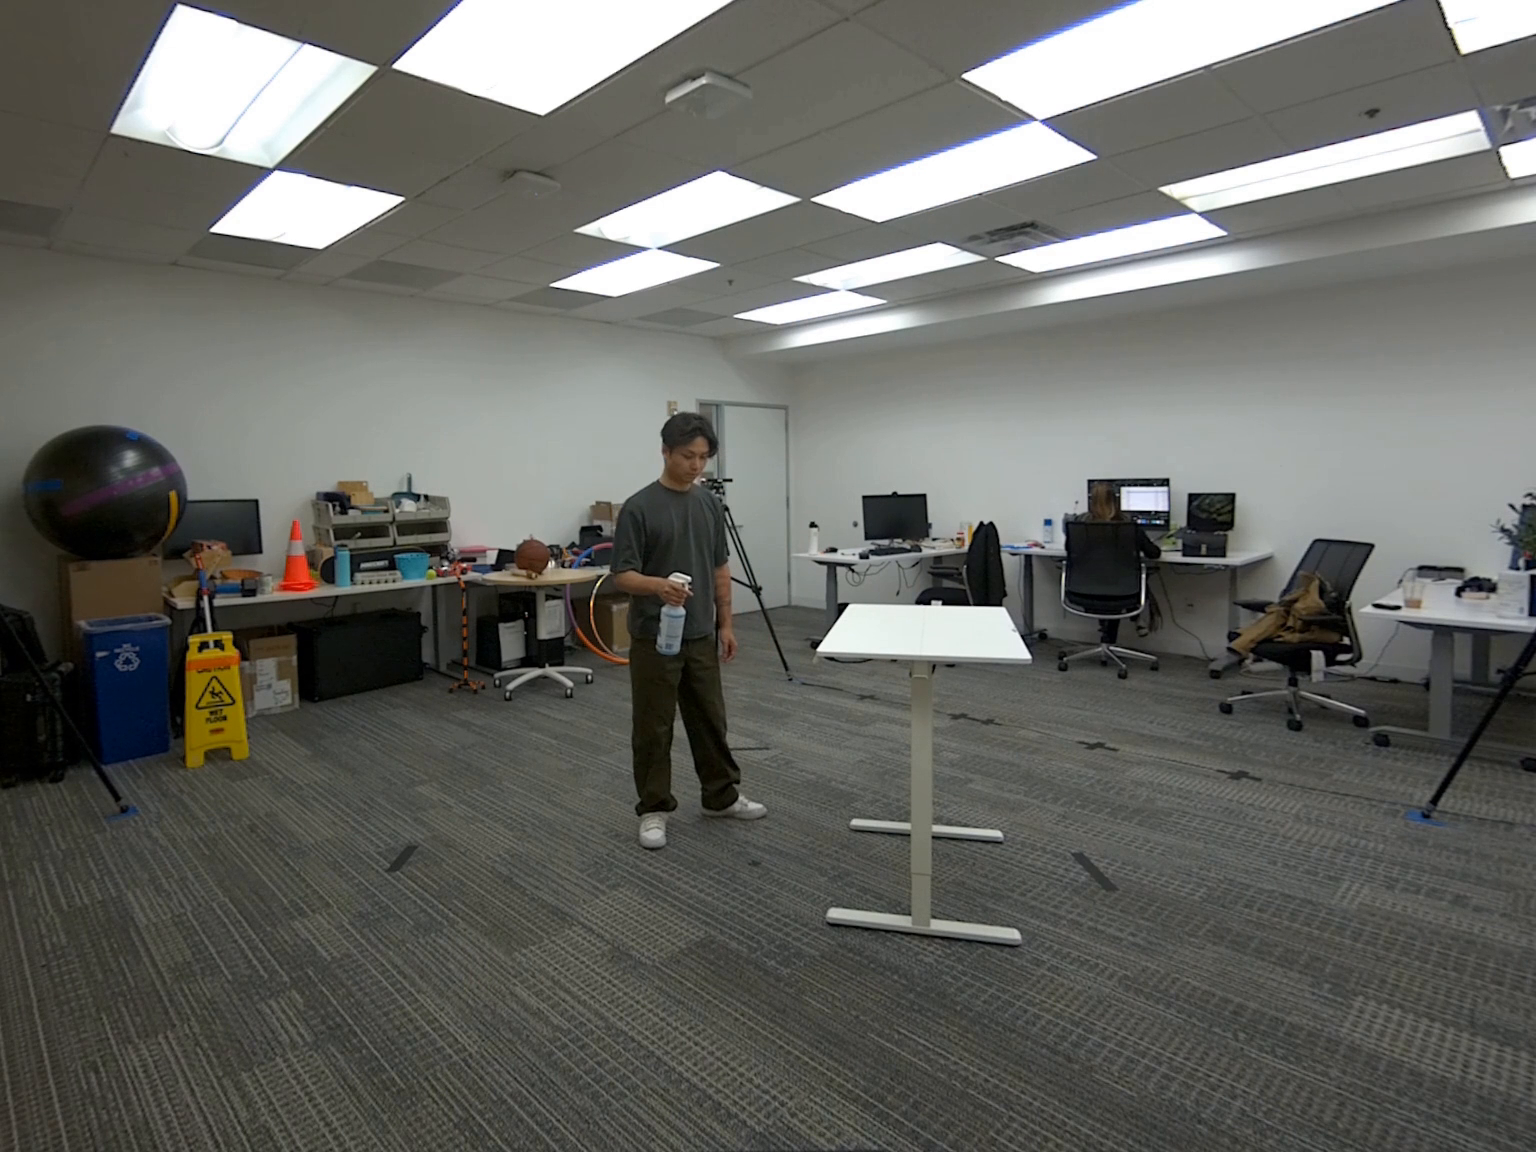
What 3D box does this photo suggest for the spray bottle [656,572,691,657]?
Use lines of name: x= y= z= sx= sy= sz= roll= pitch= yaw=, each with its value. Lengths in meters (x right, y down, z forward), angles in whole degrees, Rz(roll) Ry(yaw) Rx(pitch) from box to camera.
spray bottle: x=-0.344 y=0.134 z=3.045 sx=0.085 sy=0.294 sz=0.093 roll=0 pitch=20 yaw=-33
